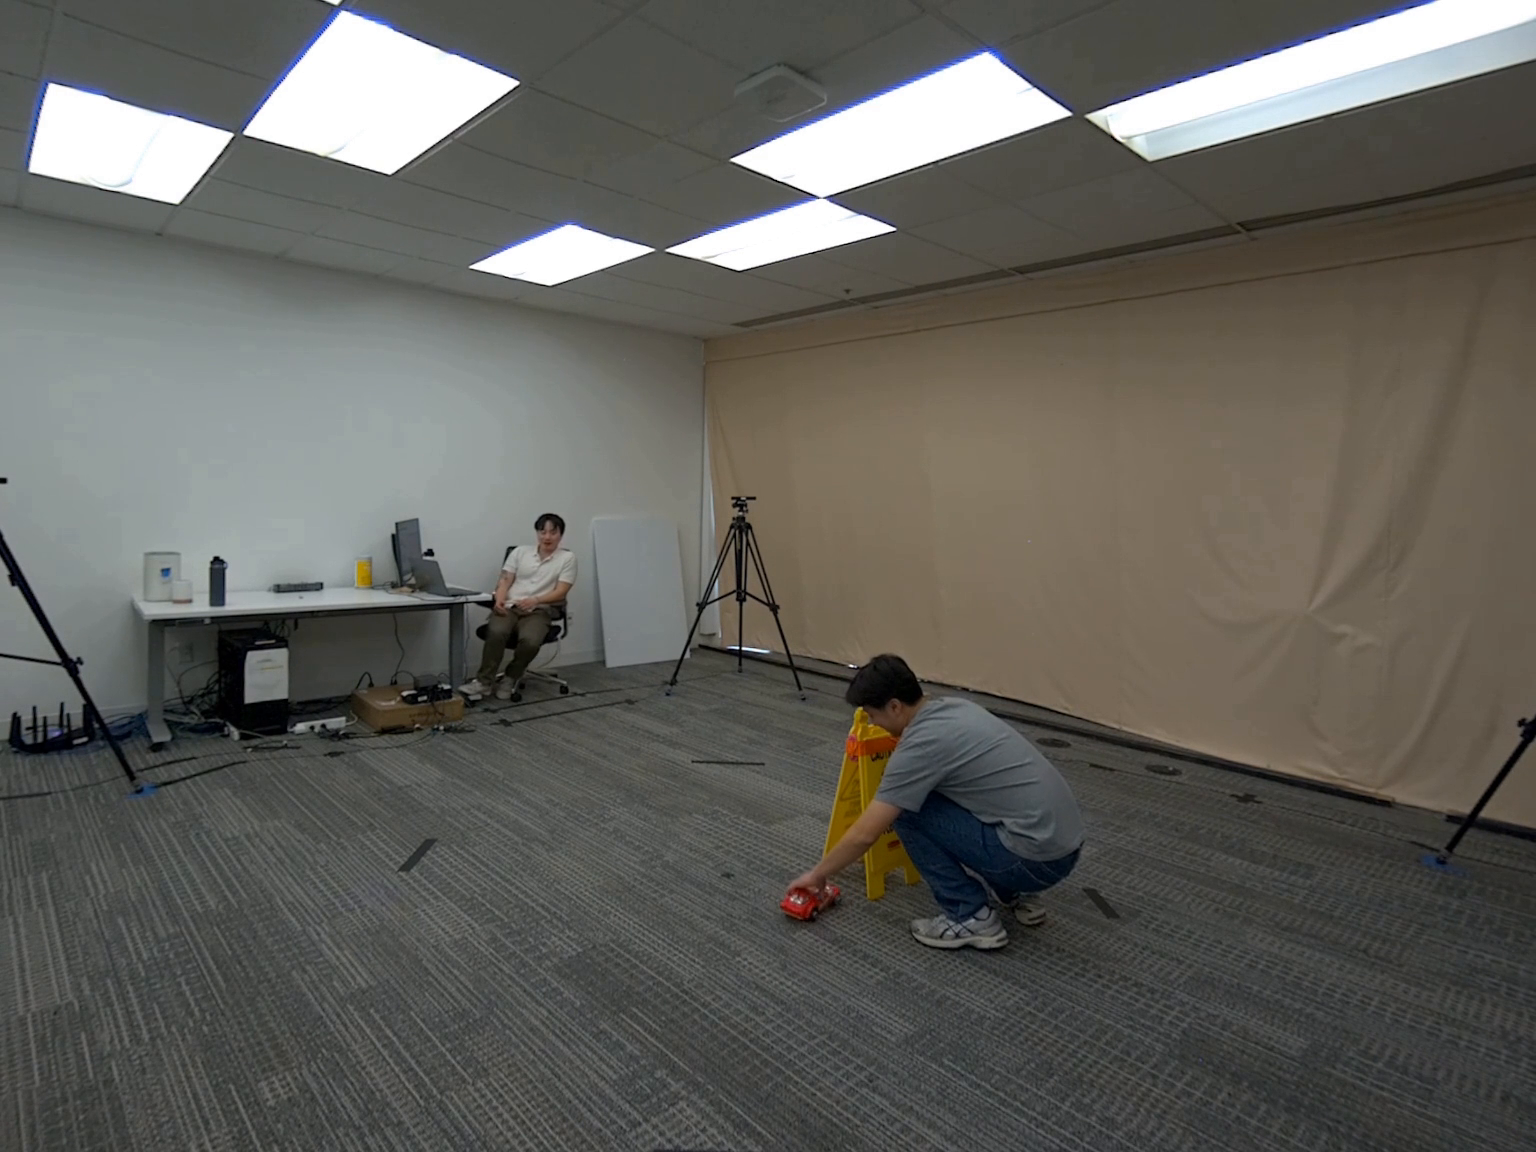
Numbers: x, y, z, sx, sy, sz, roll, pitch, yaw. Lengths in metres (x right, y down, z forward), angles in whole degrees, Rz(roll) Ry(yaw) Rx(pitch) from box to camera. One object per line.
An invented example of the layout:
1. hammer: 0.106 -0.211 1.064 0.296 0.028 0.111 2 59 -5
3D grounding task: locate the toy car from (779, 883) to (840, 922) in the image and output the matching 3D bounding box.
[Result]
1. toy car: 0.139 1.096 2.854 0.133 0.083 0.247 6 -4 39
